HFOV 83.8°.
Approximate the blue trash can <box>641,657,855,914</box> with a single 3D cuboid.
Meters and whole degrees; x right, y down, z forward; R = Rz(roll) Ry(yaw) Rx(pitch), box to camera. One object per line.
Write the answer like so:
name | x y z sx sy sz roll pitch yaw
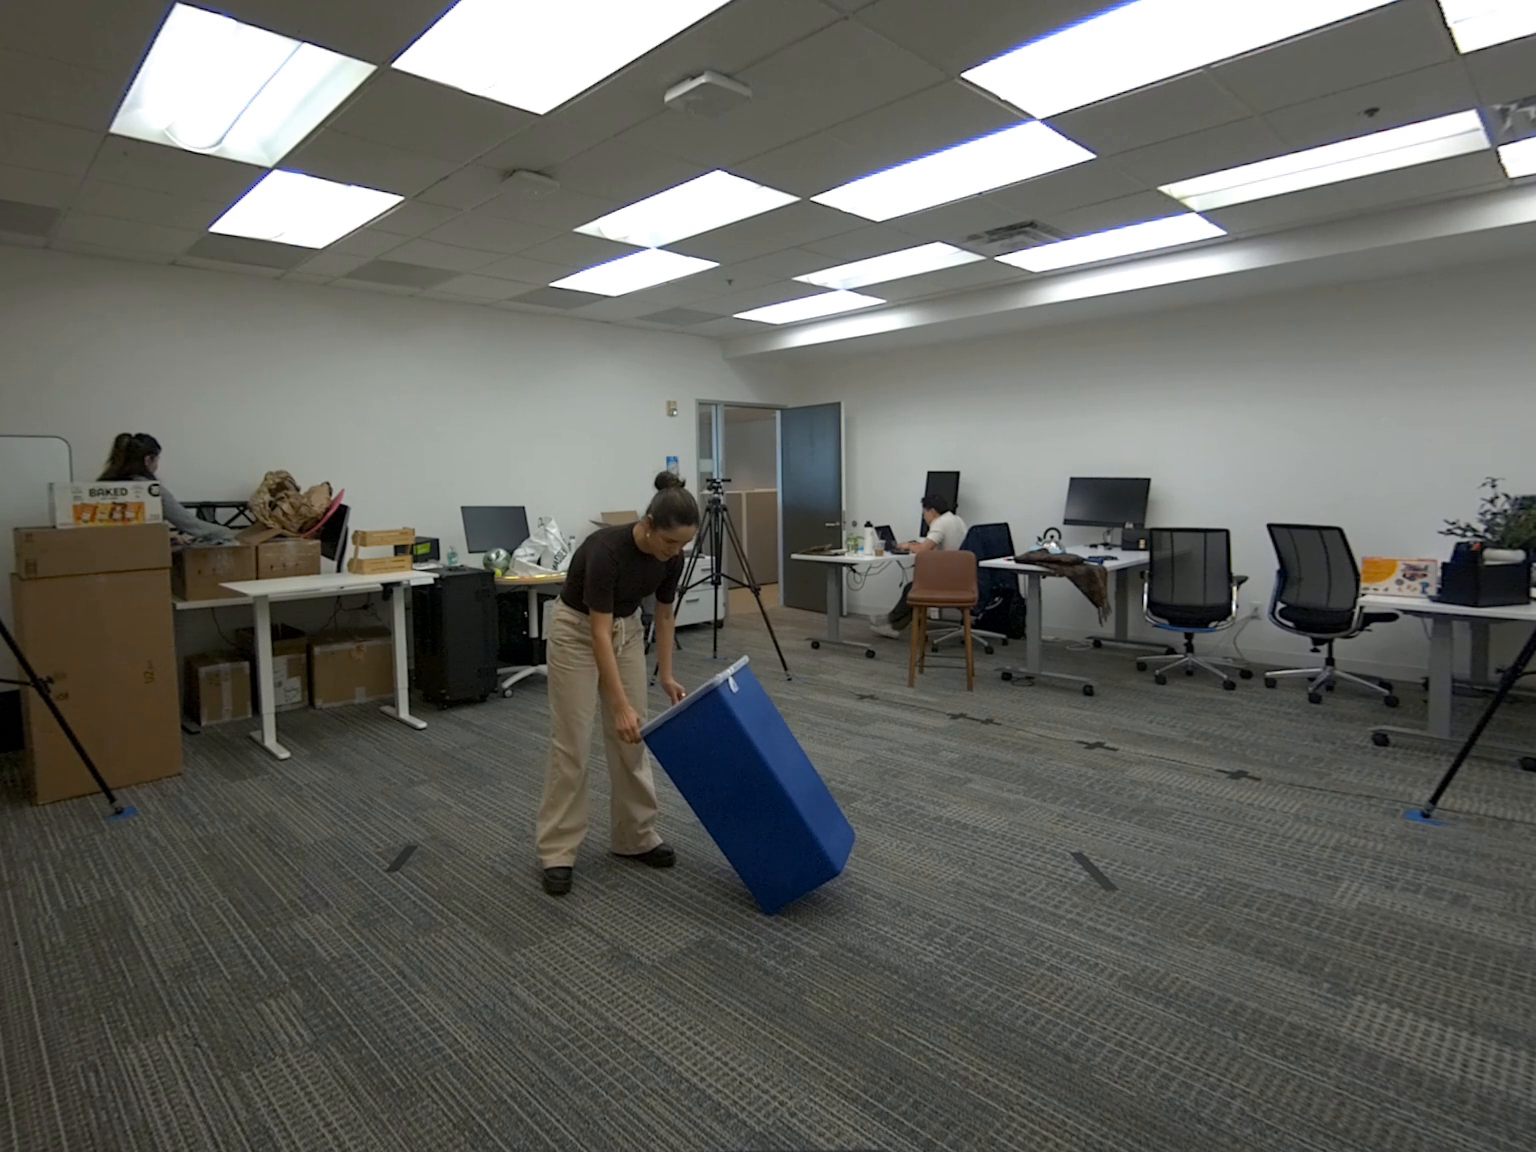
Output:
blue trash can | -0.057 0.698 2.865 0.375 0.720 0.373 -36 -6 17
